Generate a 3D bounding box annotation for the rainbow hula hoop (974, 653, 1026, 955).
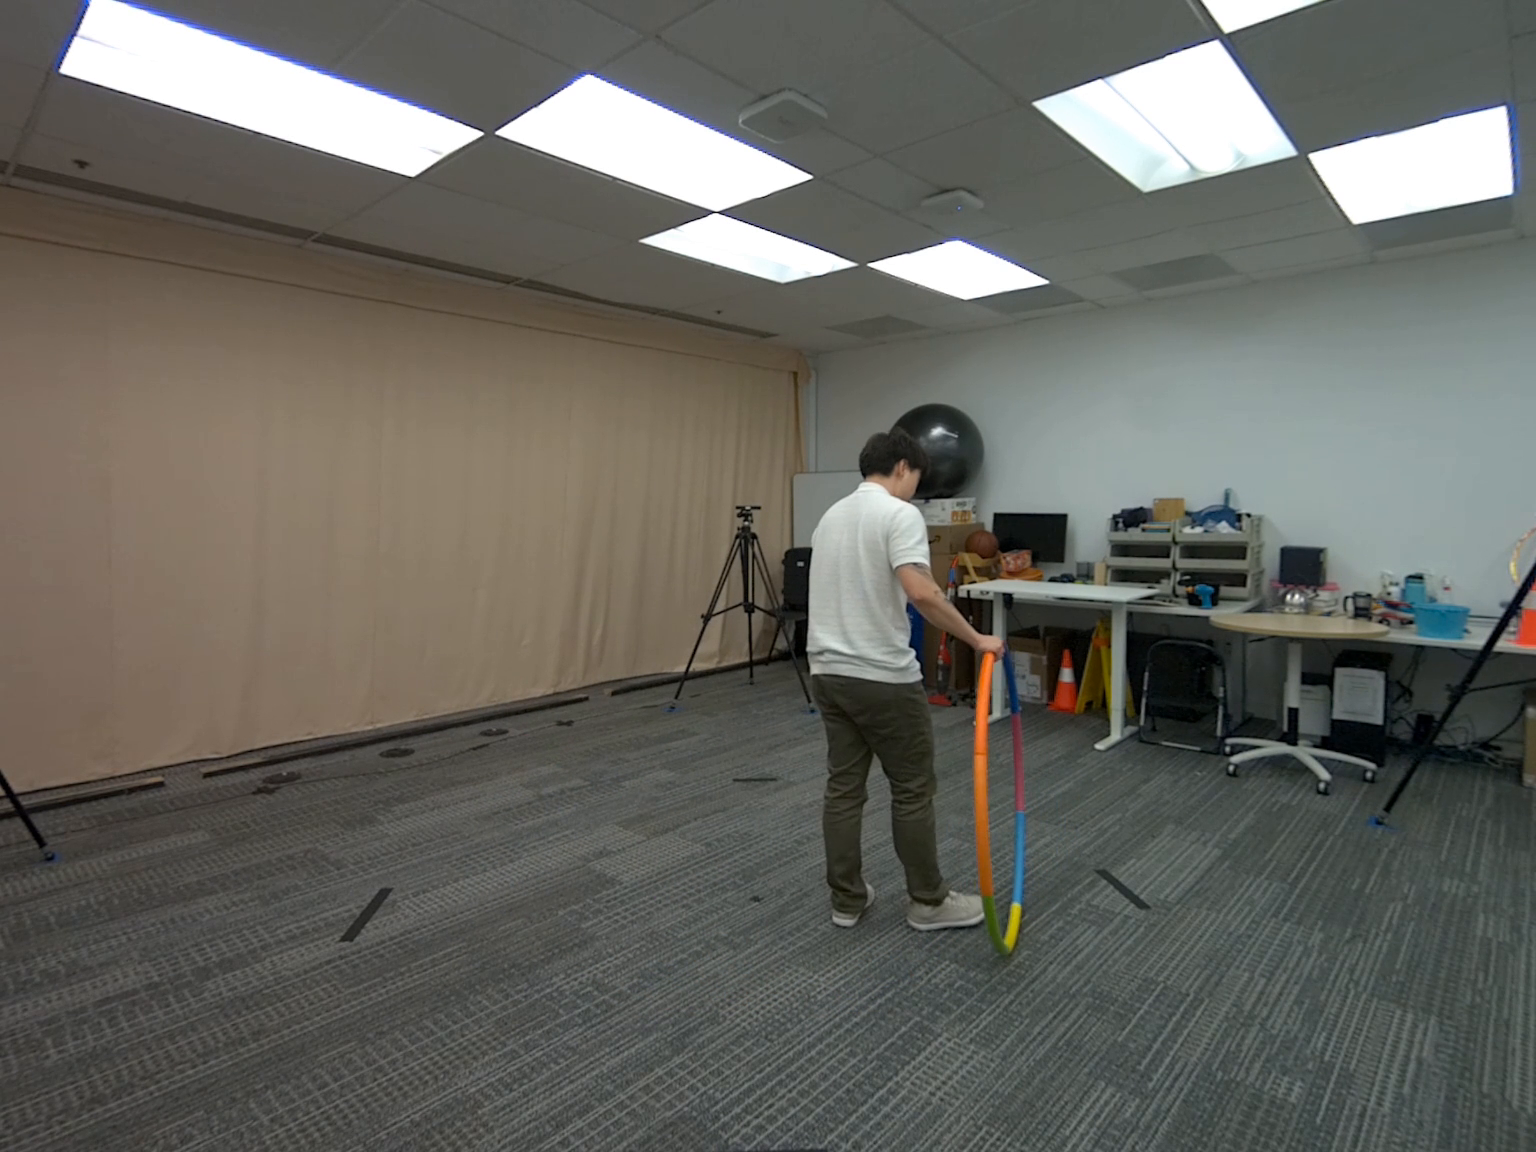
[{"bbox_3d":[0.764,0.683,2.713,0.036,0.978,0.958,-4,2,22],"label":"rainbow hula hoop"}]
